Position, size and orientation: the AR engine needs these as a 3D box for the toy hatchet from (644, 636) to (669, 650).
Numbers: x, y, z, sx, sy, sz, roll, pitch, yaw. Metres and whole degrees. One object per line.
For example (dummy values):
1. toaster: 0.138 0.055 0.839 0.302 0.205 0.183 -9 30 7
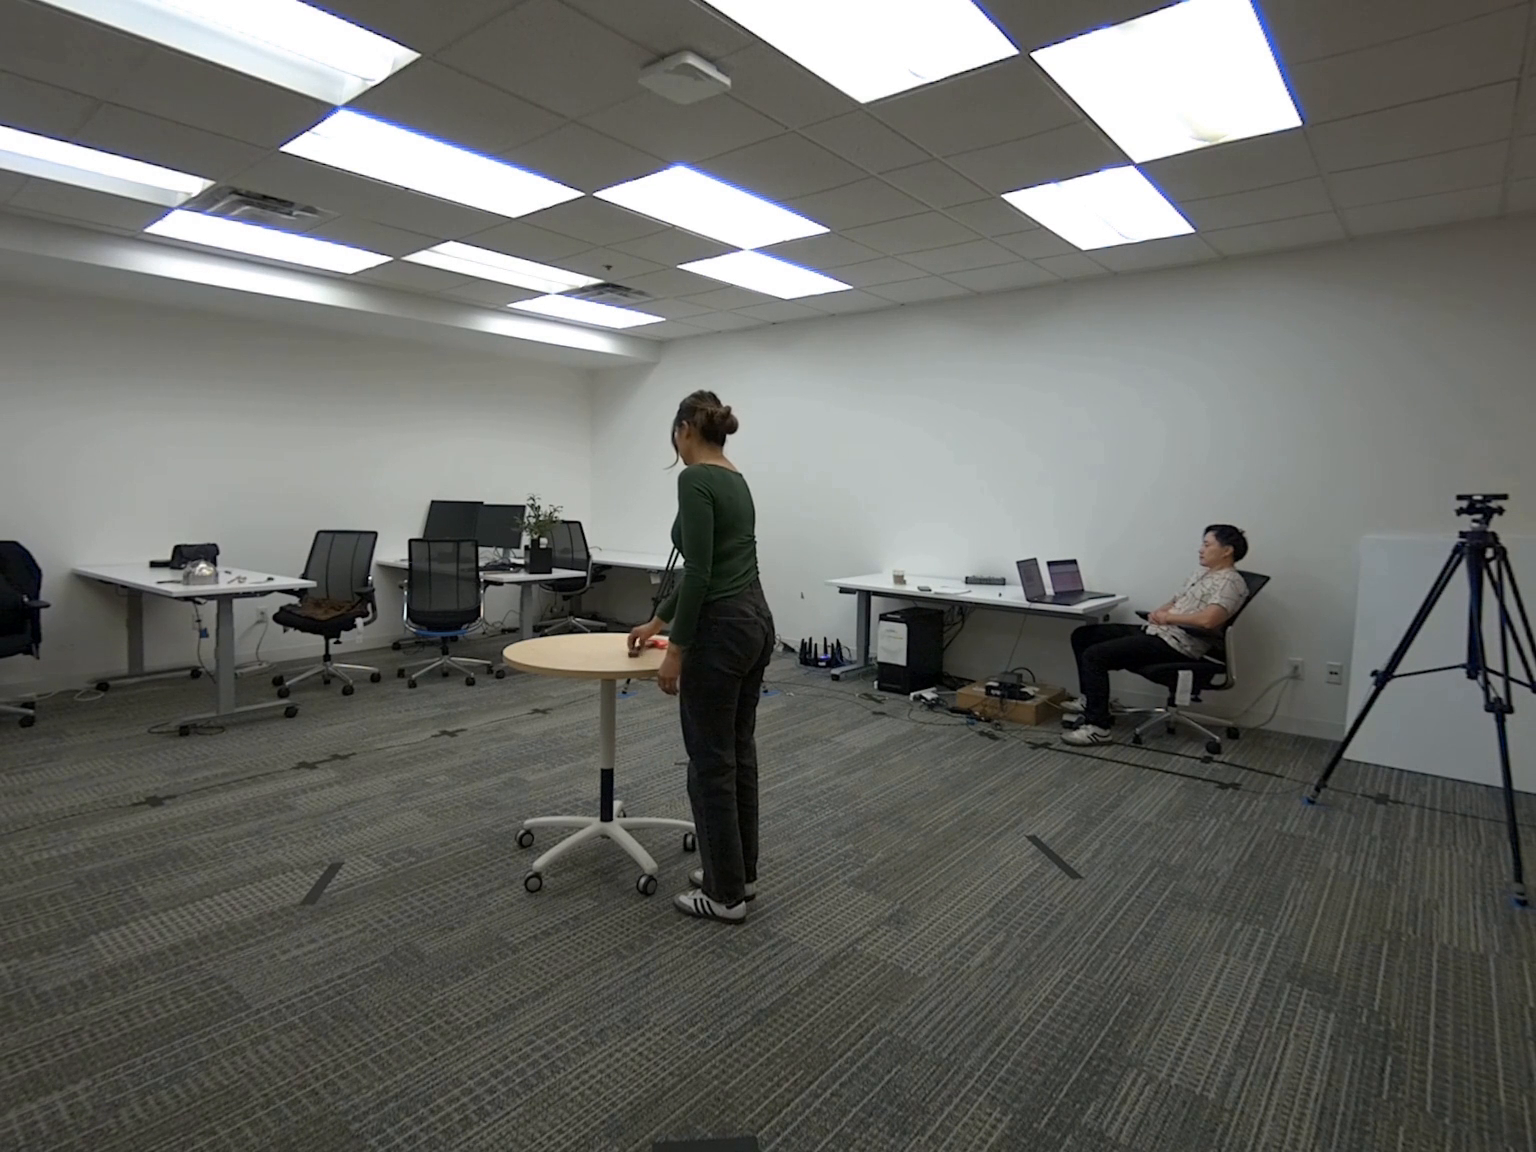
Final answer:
1. toy hatchet: -0.442 0.264 3.141 0.132 0.029 0.270 -1 7 3
